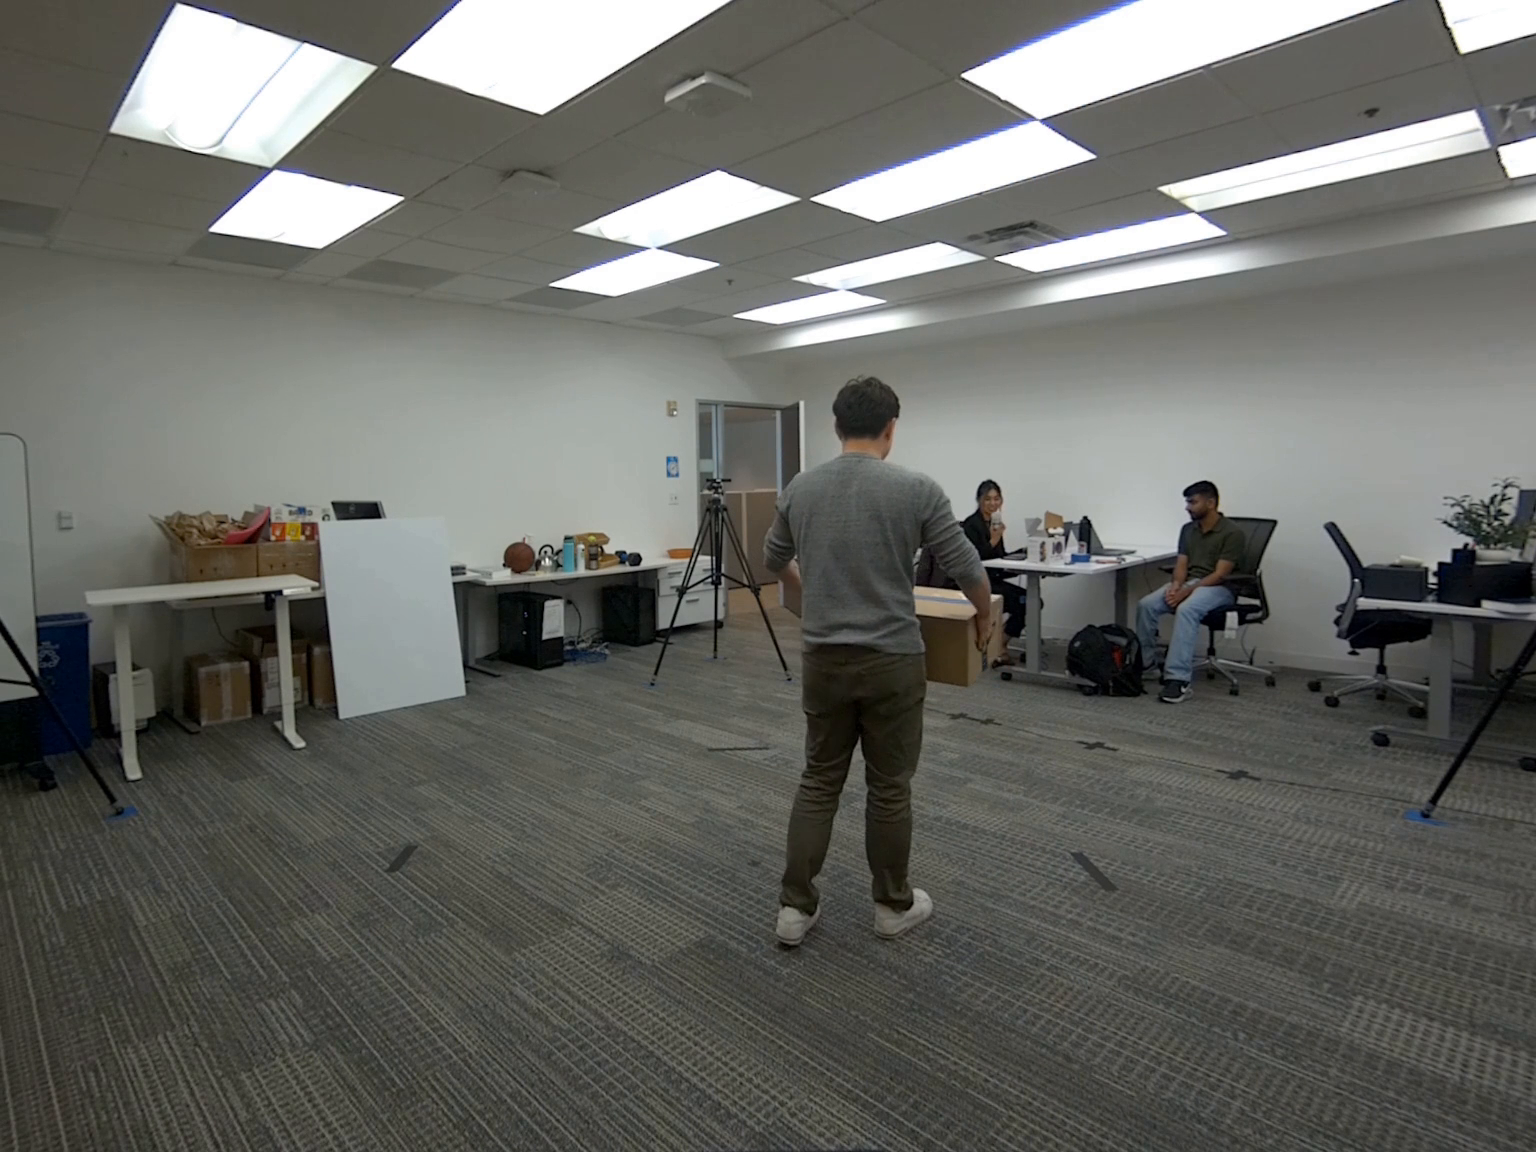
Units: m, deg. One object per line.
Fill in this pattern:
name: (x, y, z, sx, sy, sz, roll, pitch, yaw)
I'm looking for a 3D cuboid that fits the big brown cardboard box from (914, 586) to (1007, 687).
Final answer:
big brown cardboard box: (0.461, 0.175, 2.918, 0.605, 0.231, 0.410, 5, 11, 29)
